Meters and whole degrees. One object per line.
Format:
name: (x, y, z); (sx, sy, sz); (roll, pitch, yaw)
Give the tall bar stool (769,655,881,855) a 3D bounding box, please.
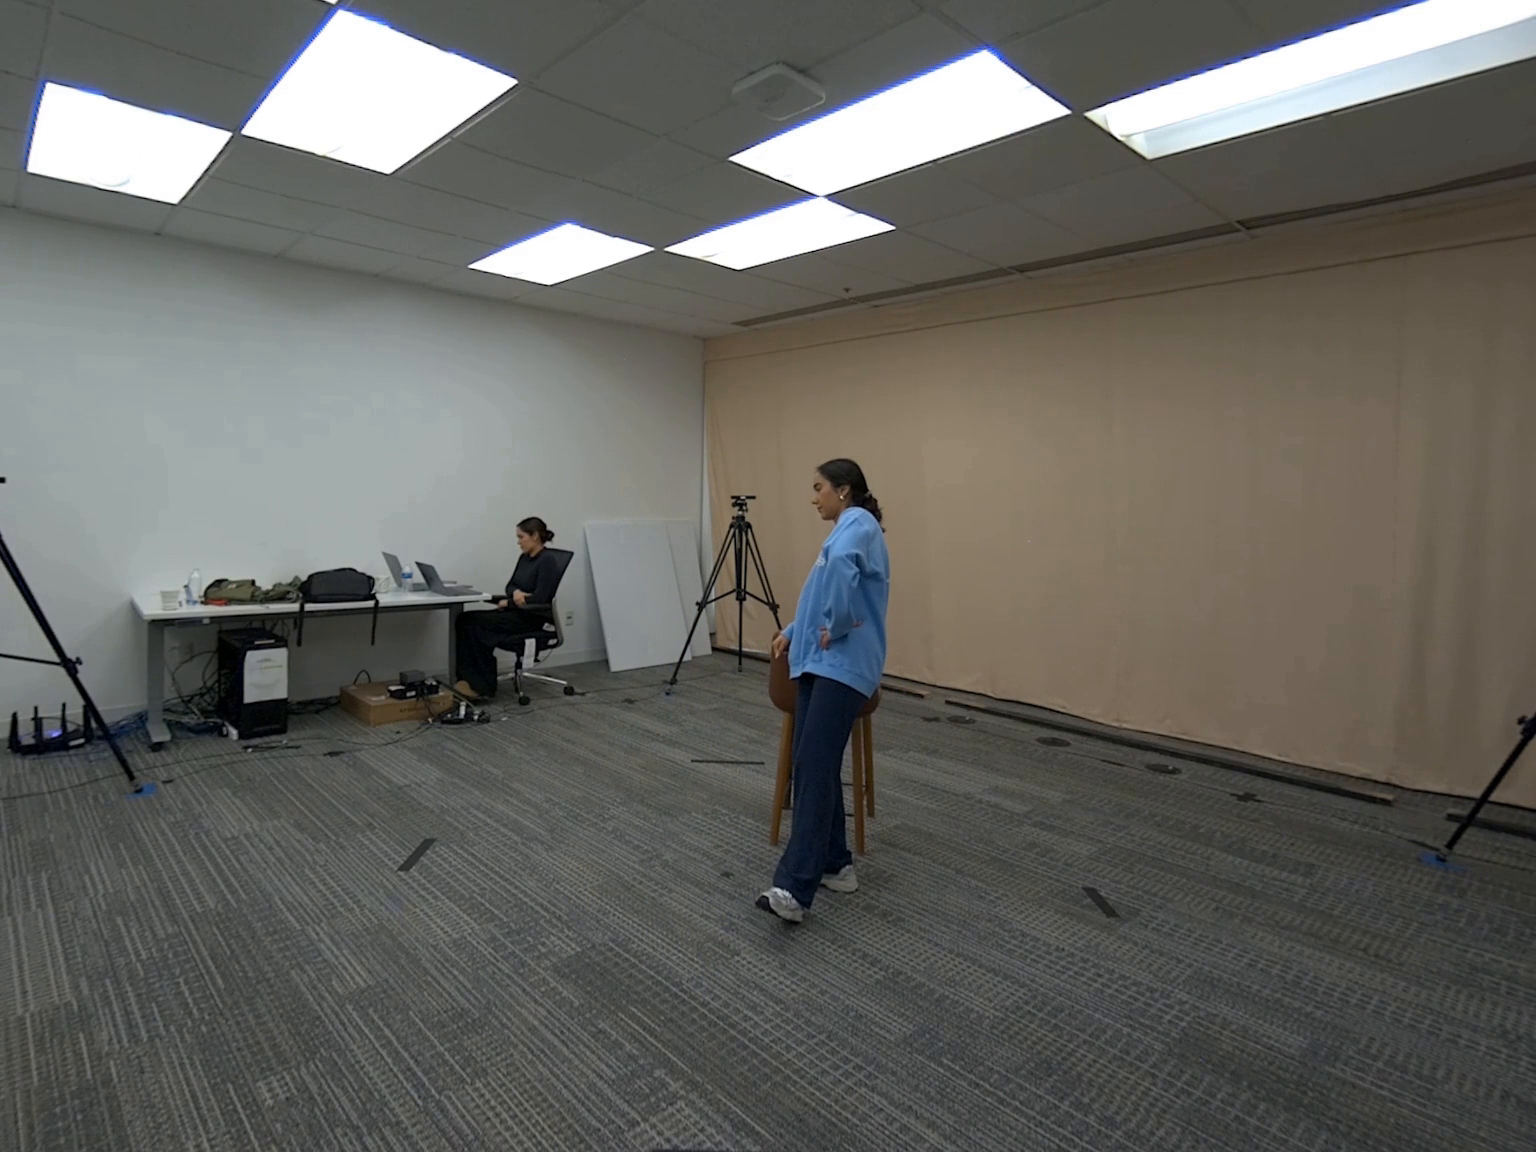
tall bar stool: (0.236, 0.638, 3.534); (0.461, 0.886, 0.464); (2, 5, 13)
